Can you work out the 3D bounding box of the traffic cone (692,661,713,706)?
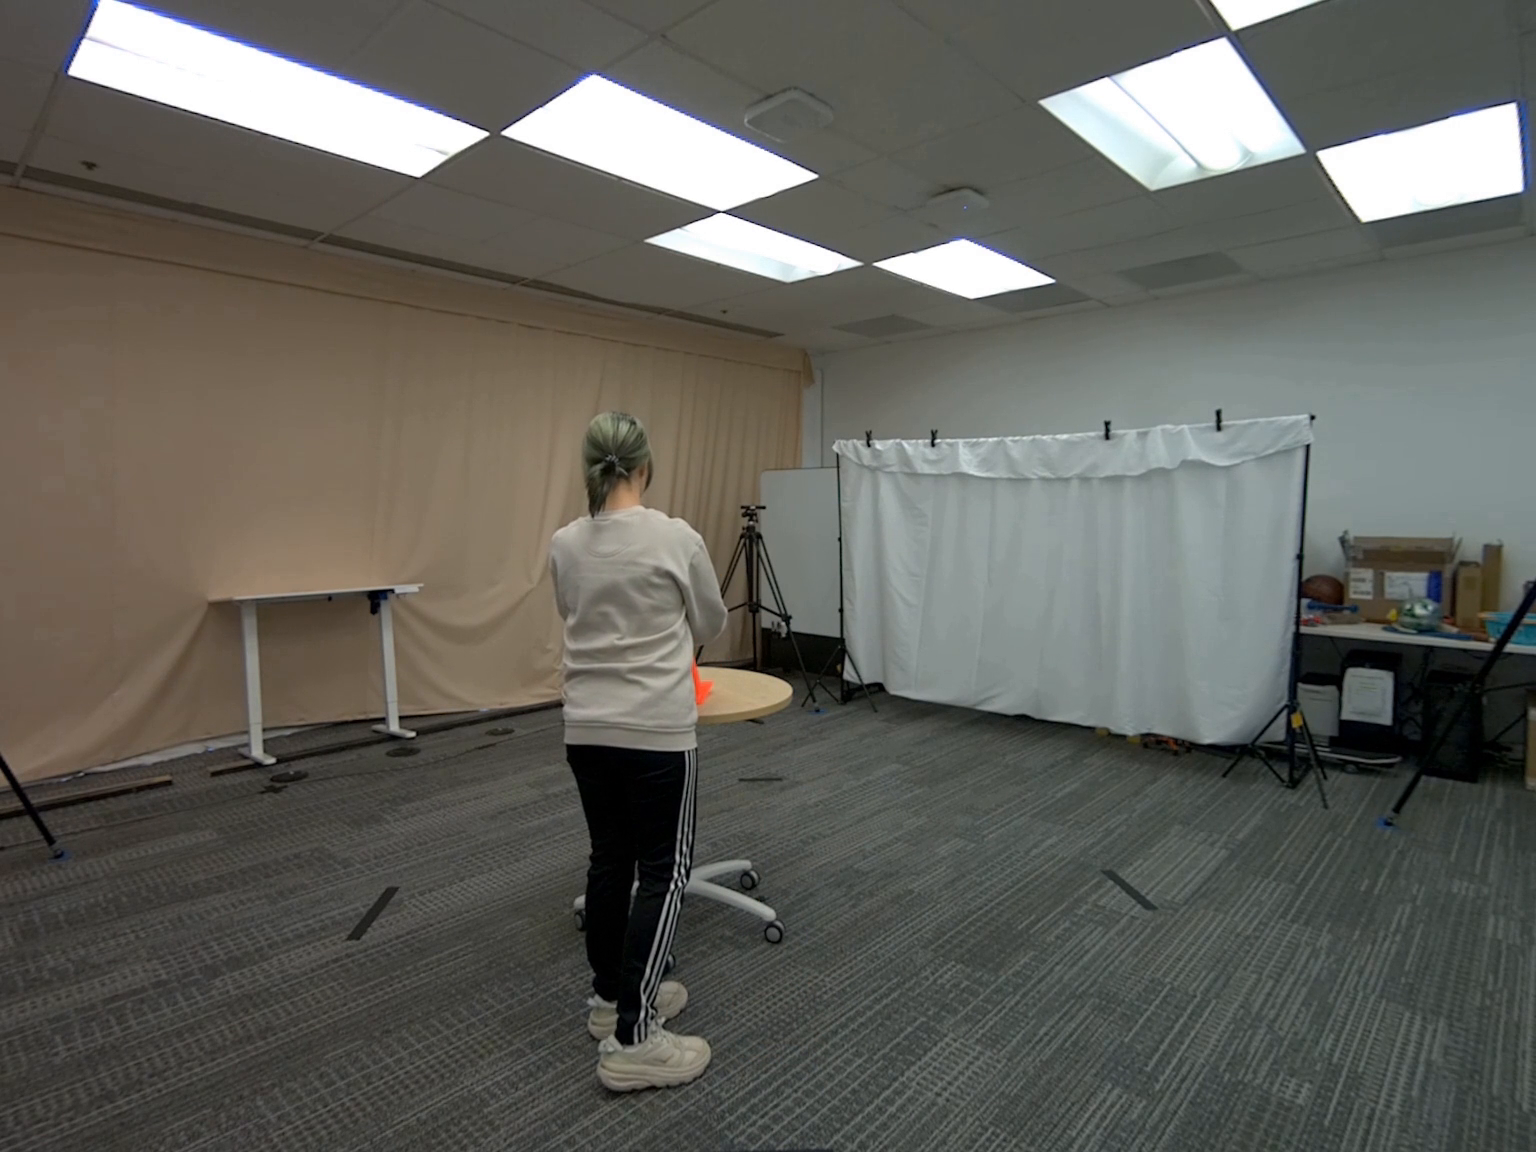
[{"bbox_3d":[-0.297,0.185,2.661,0.207,0.382,0.202,-2,7,9],"label":"traffic cone"}]
